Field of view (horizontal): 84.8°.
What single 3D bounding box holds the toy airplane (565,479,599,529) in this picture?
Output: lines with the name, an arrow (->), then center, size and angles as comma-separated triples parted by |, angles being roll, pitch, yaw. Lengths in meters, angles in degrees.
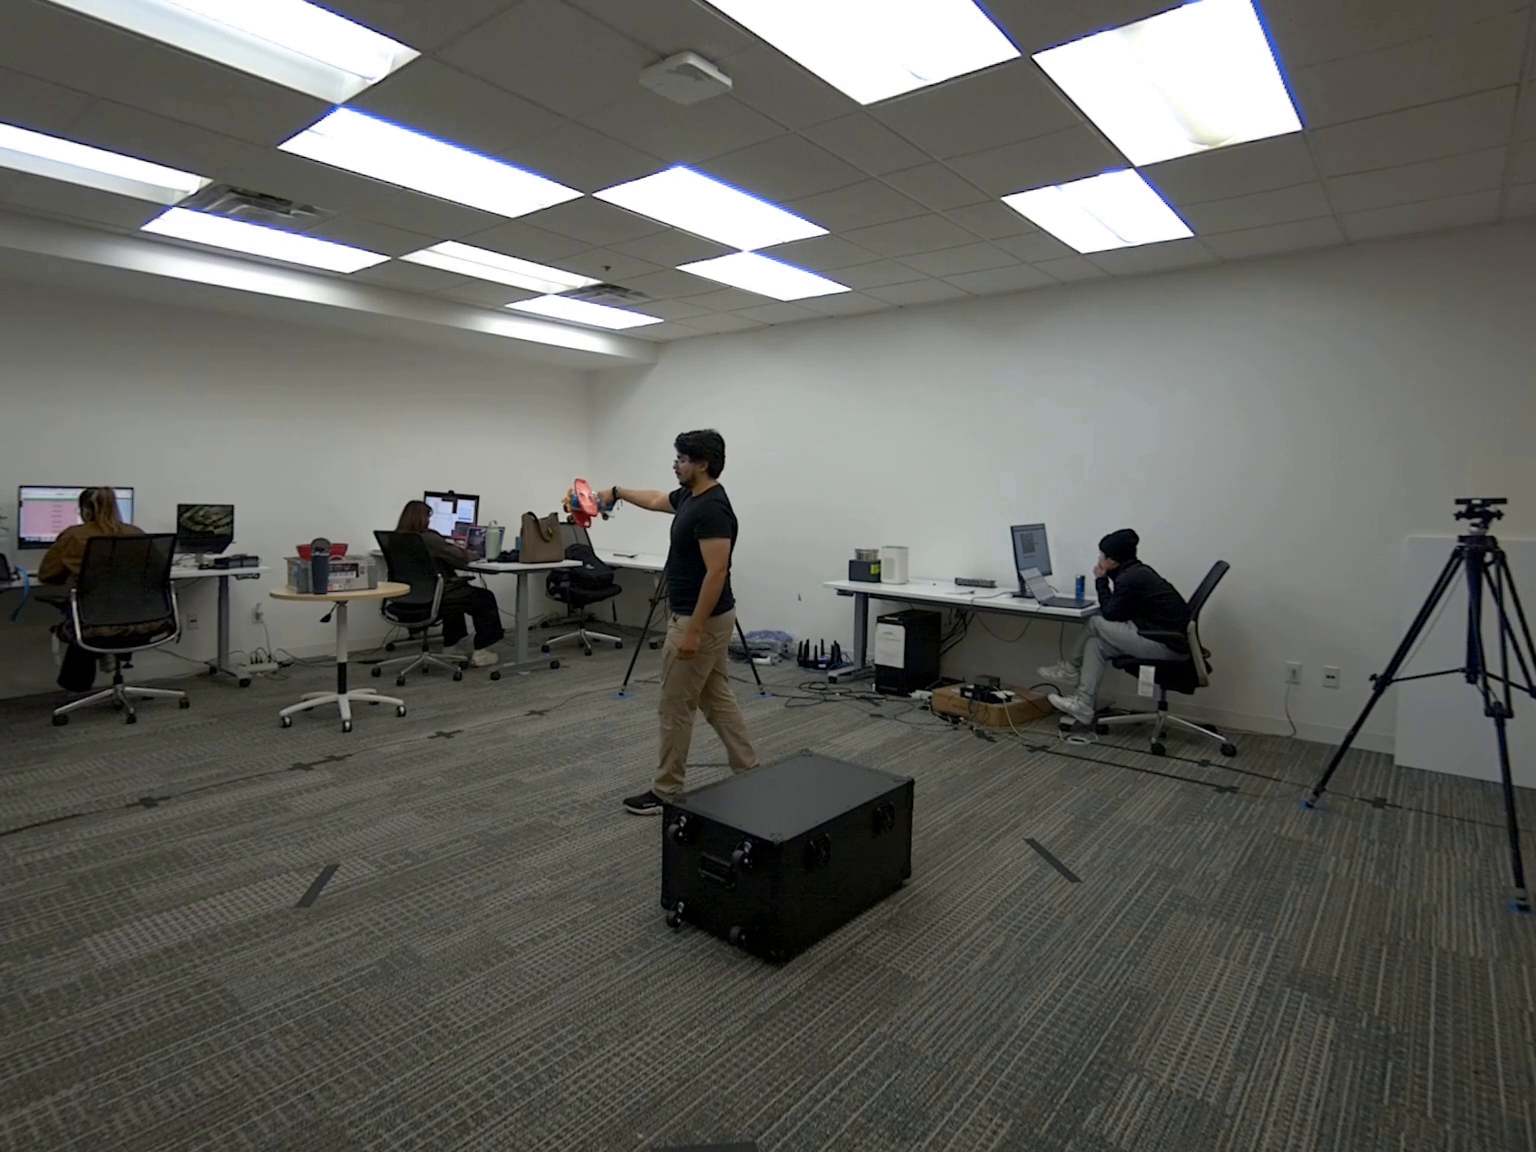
toy airplane -> -0.897, -0.363, 4.172 | 0.257, 0.154, 0.256 | 40, 44, 16
